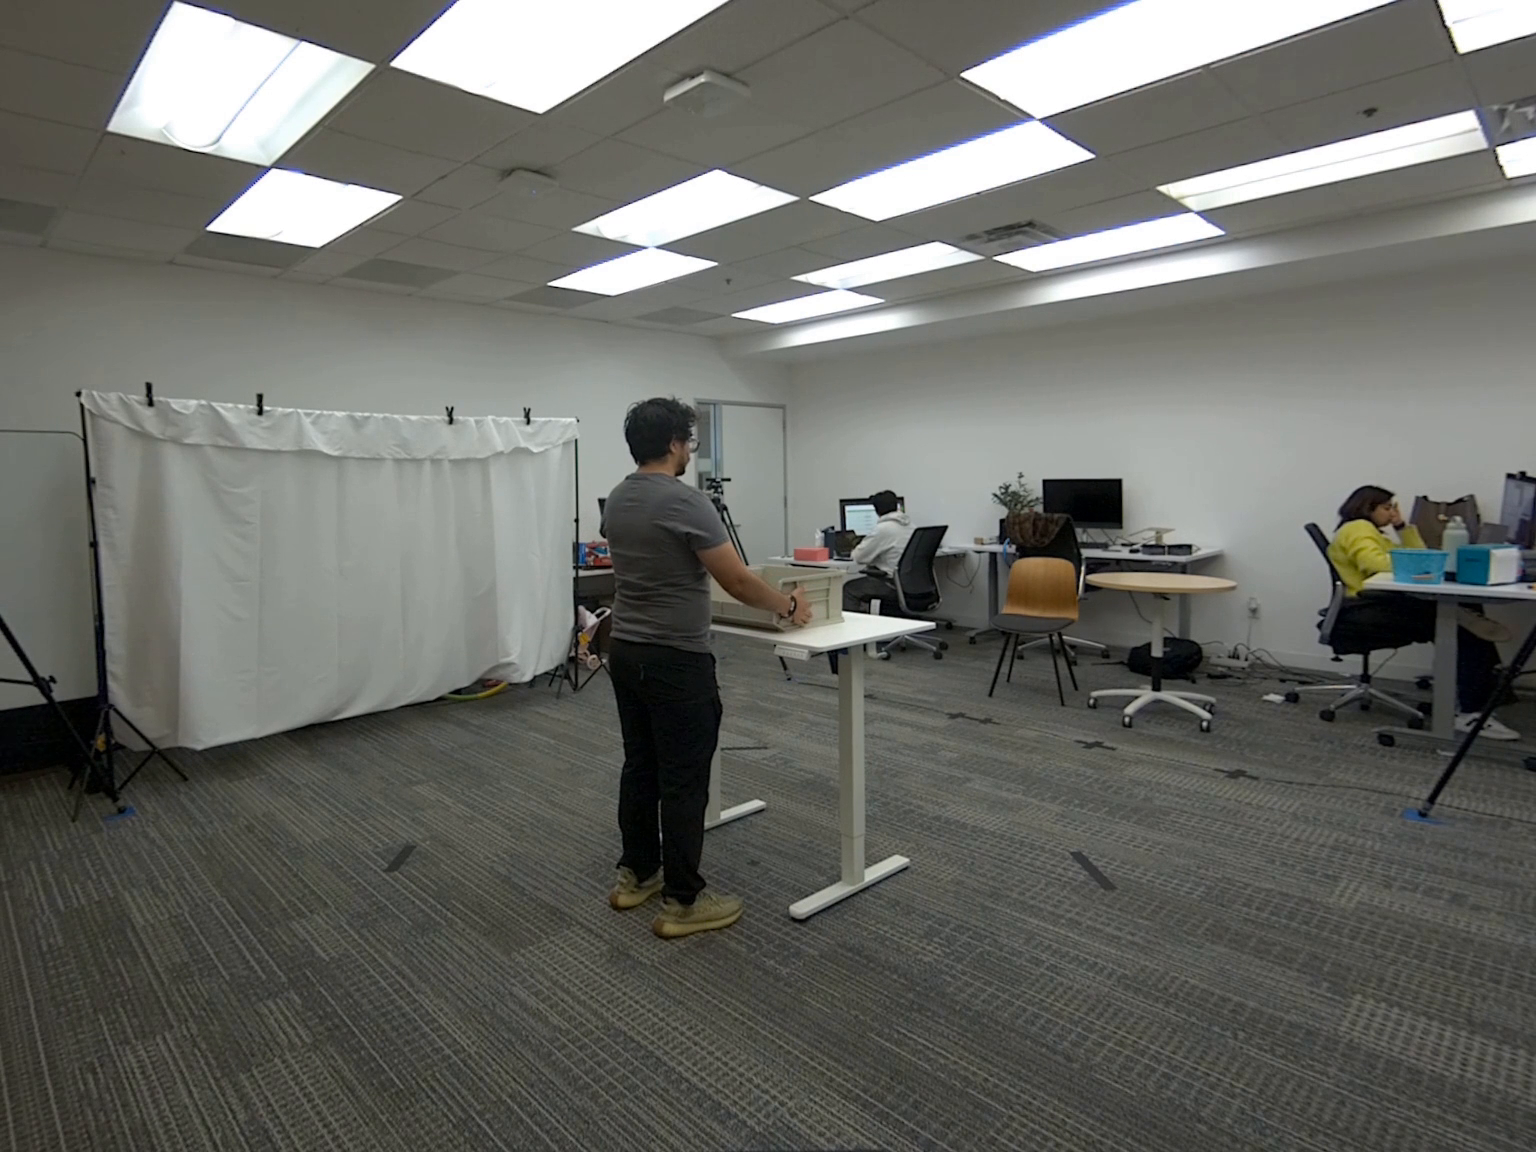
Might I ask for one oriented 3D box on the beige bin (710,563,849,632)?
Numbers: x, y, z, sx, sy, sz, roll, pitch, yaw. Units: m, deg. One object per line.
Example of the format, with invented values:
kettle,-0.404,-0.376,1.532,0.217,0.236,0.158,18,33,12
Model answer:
beige bin,0.013,0.079,3.053,0.435,0.188,0.367,4,7,44
